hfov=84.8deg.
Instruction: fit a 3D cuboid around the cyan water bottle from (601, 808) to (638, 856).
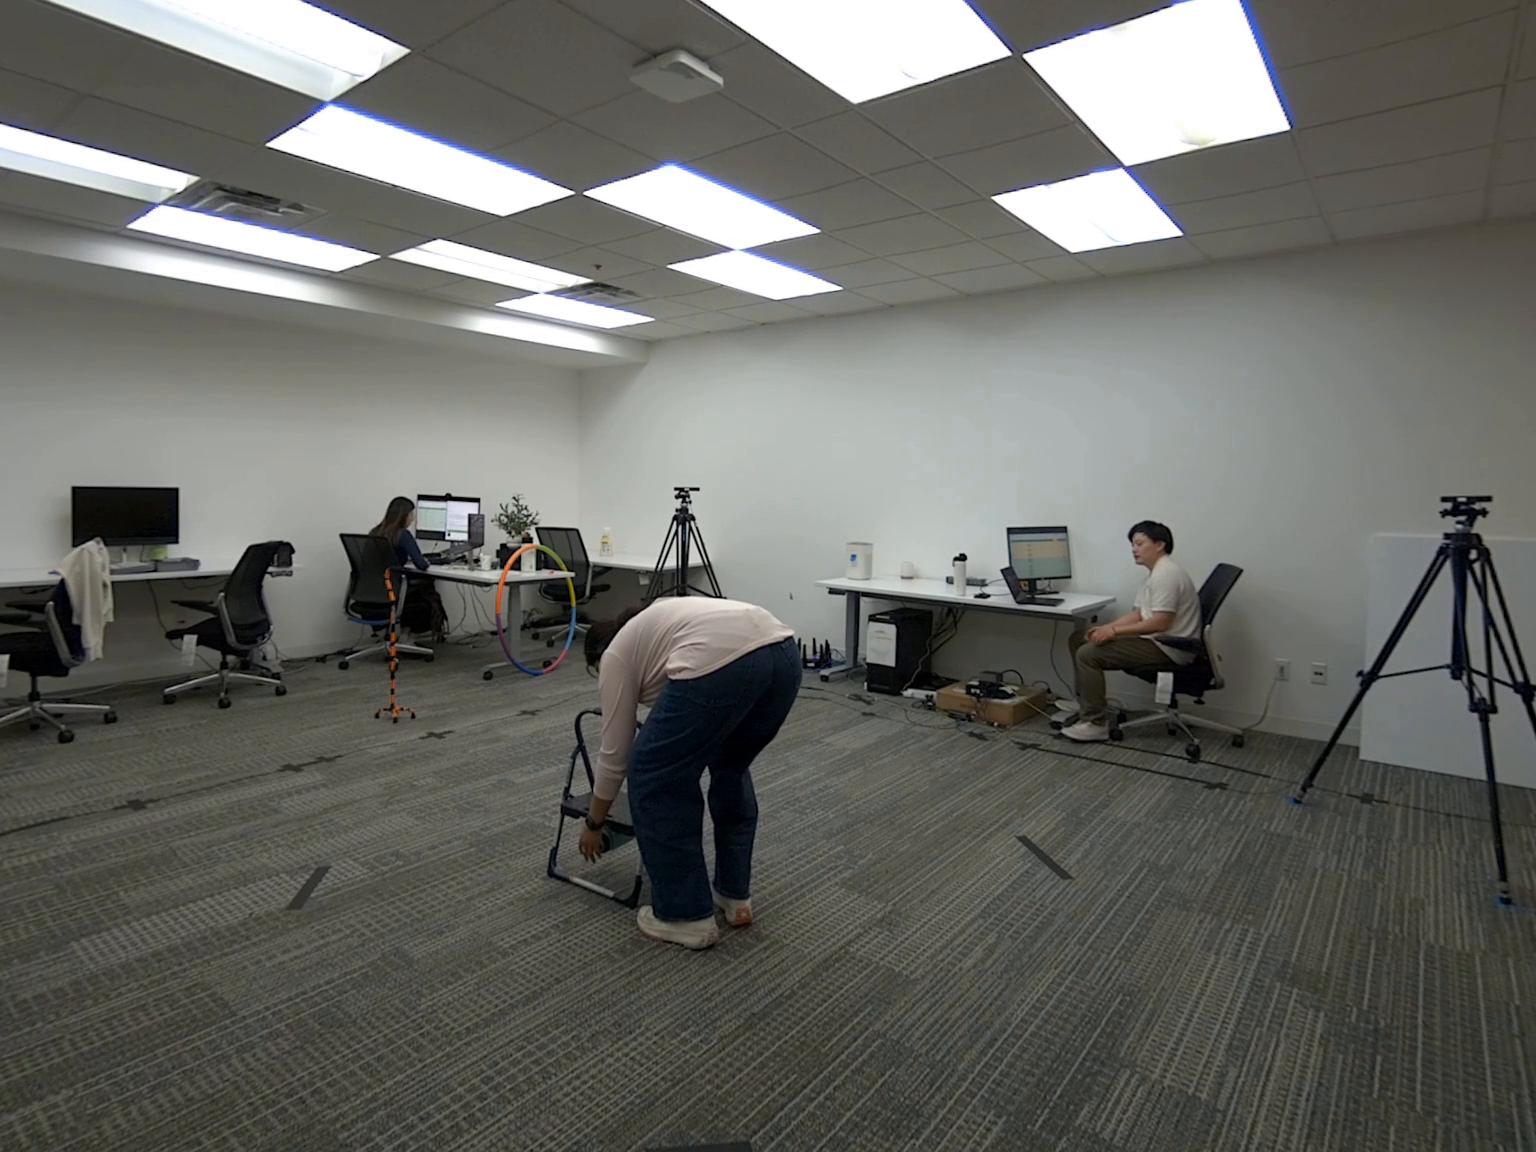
[{"bbox_3d":[-0.502,0.906,3.033,0.095,0.092,0.275,4,5,36],"label":"cyan water bottle"}]
